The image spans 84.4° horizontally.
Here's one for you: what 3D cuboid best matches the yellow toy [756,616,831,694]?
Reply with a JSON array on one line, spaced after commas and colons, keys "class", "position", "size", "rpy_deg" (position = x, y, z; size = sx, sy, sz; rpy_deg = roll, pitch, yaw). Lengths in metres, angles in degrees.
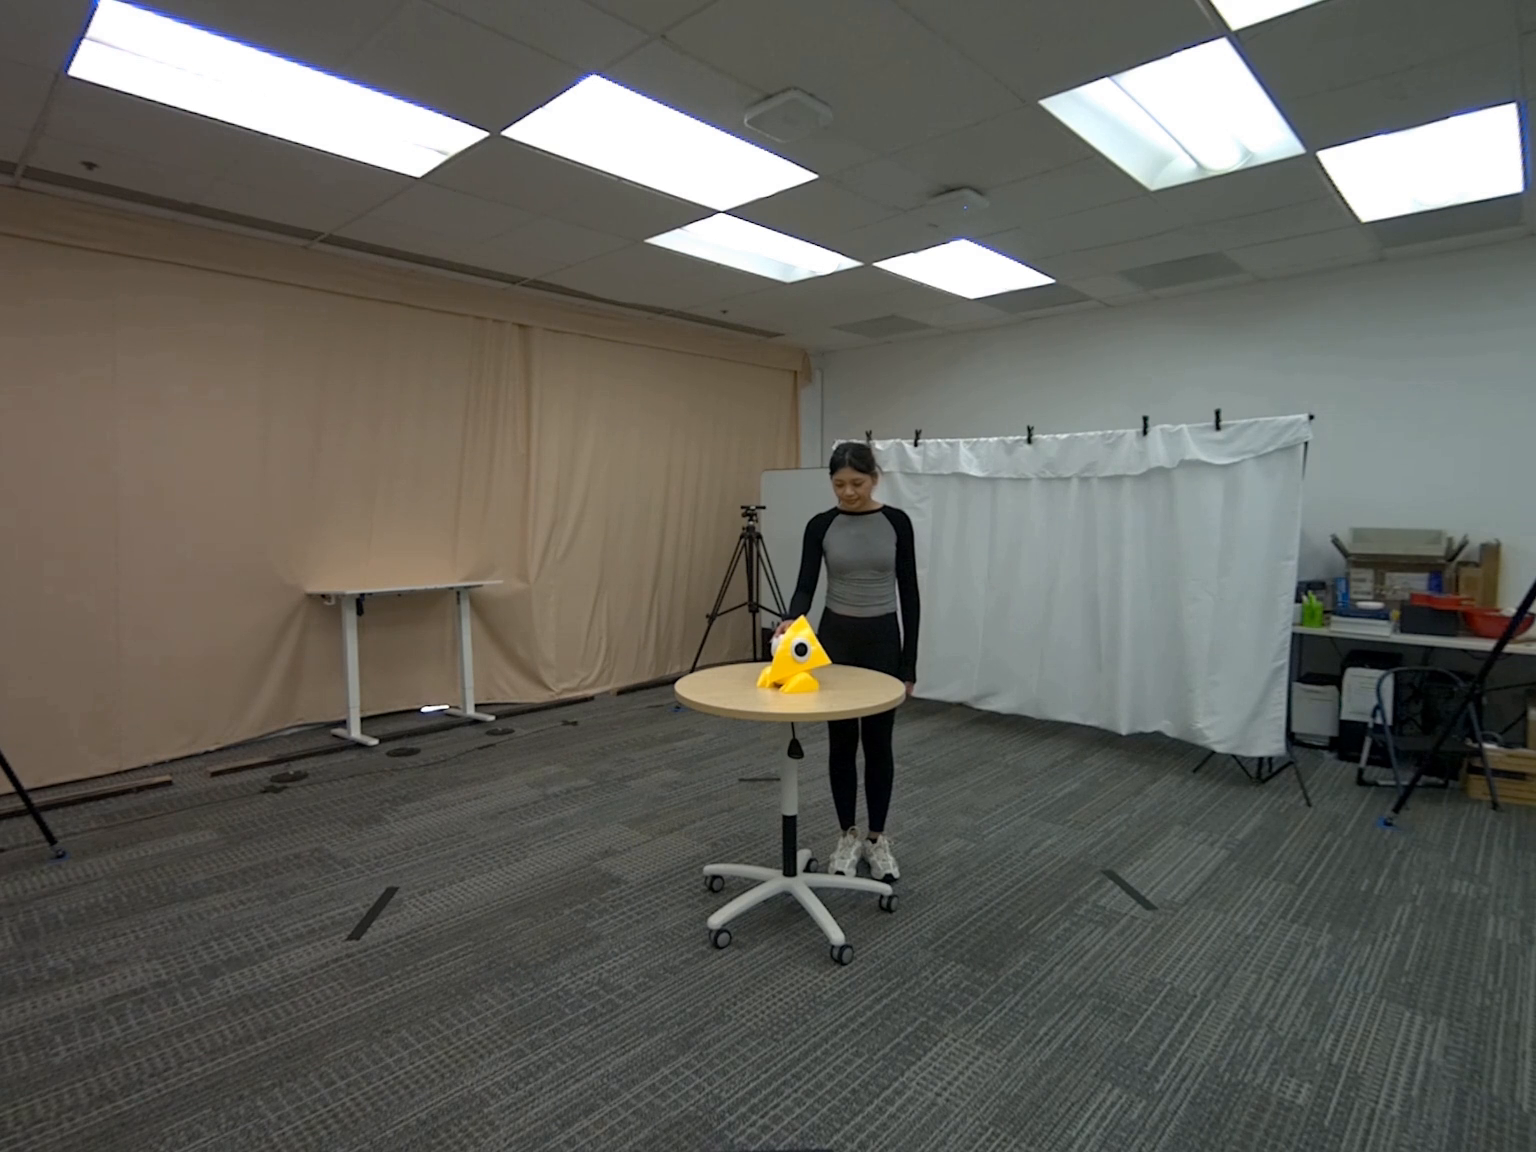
[{"class": "yellow toy", "position": [0.077, 0.253, 2.790], "size": [0.187, 0.230, 0.211], "rpy_deg": [-5, 6, -41]}]
